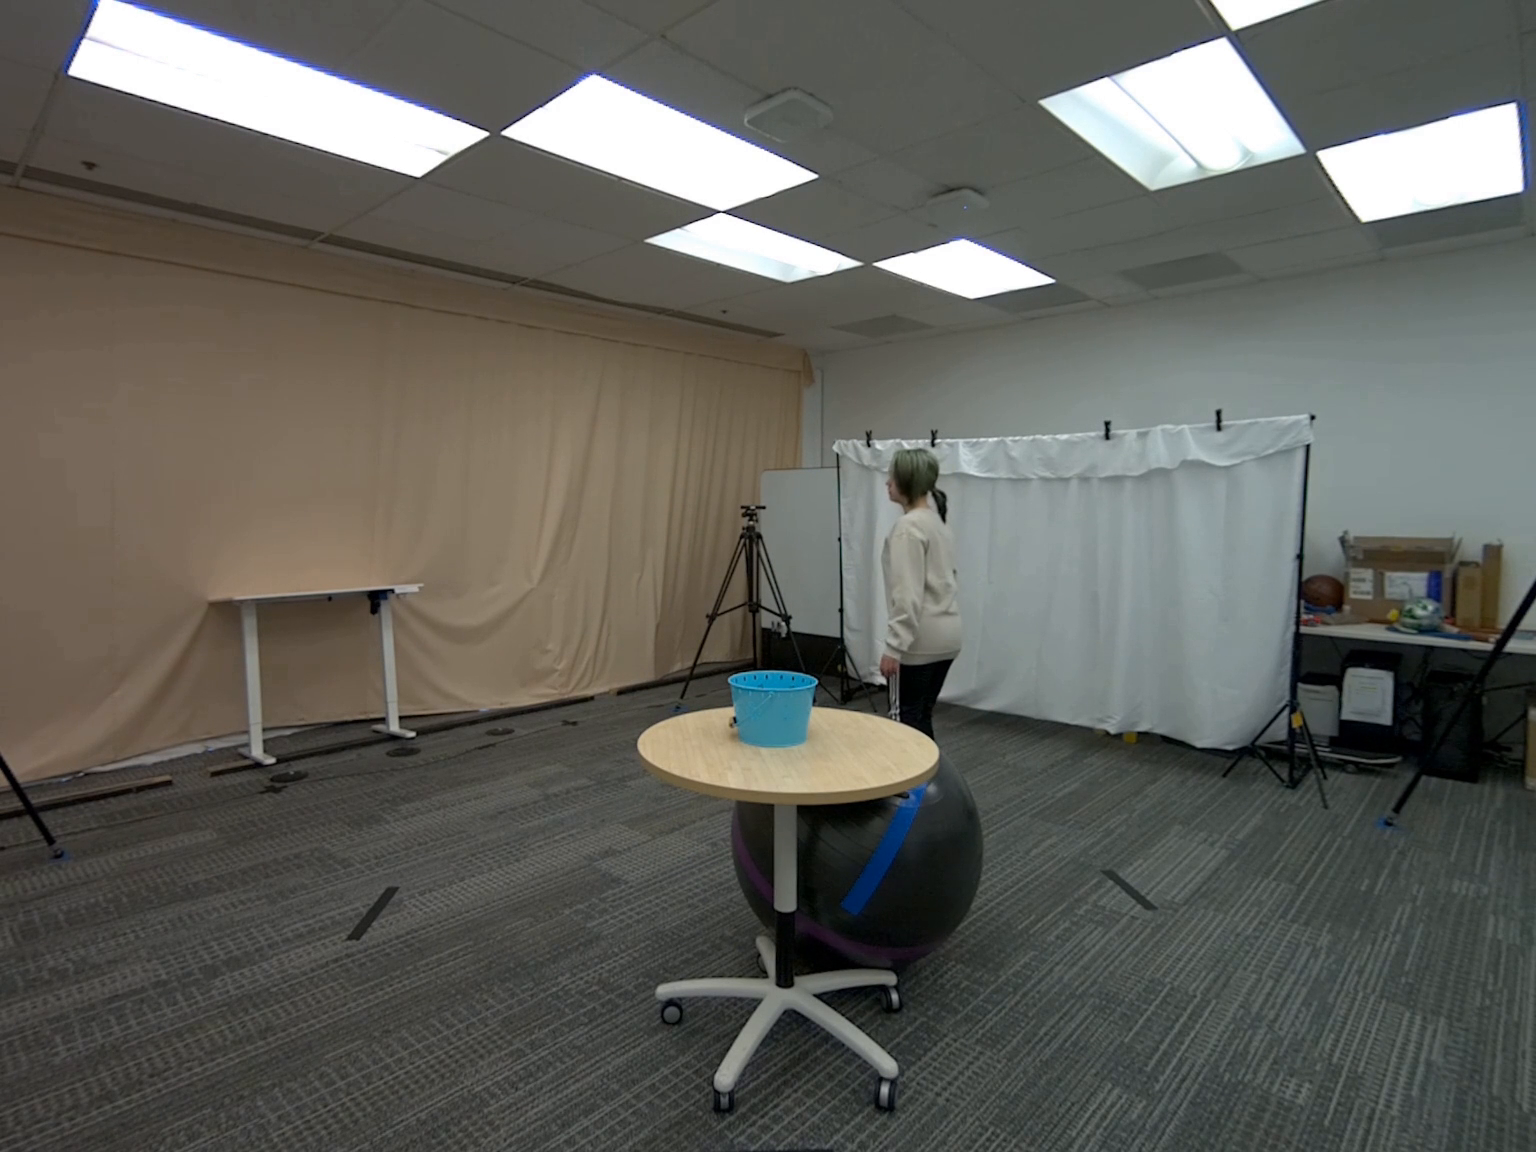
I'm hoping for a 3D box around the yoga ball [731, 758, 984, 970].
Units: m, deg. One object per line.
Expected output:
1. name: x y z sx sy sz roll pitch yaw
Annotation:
1. yoga ball: 0.281 0.811 2.586 0.757 0.756 0.760 0 4 -2
